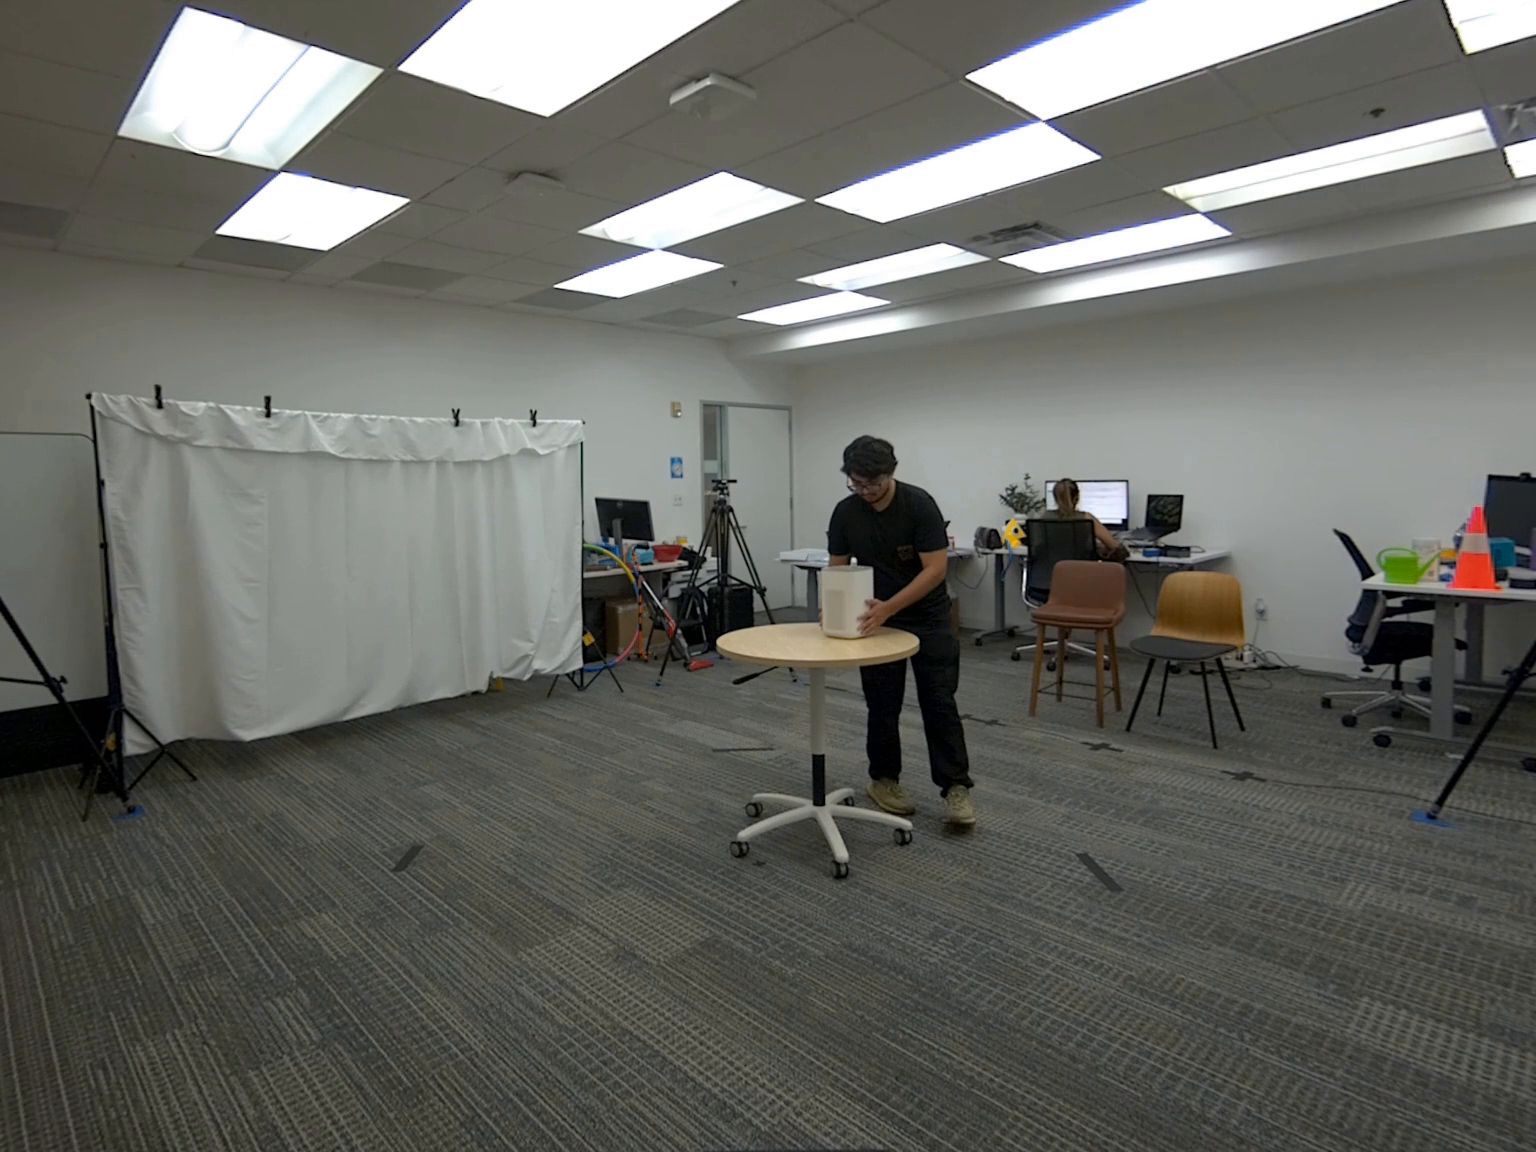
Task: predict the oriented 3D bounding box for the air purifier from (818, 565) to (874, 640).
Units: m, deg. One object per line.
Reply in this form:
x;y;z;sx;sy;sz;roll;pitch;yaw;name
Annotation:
0.314;0.101;3.317;0.177;0.264;0.166;3;5;41;air purifier
